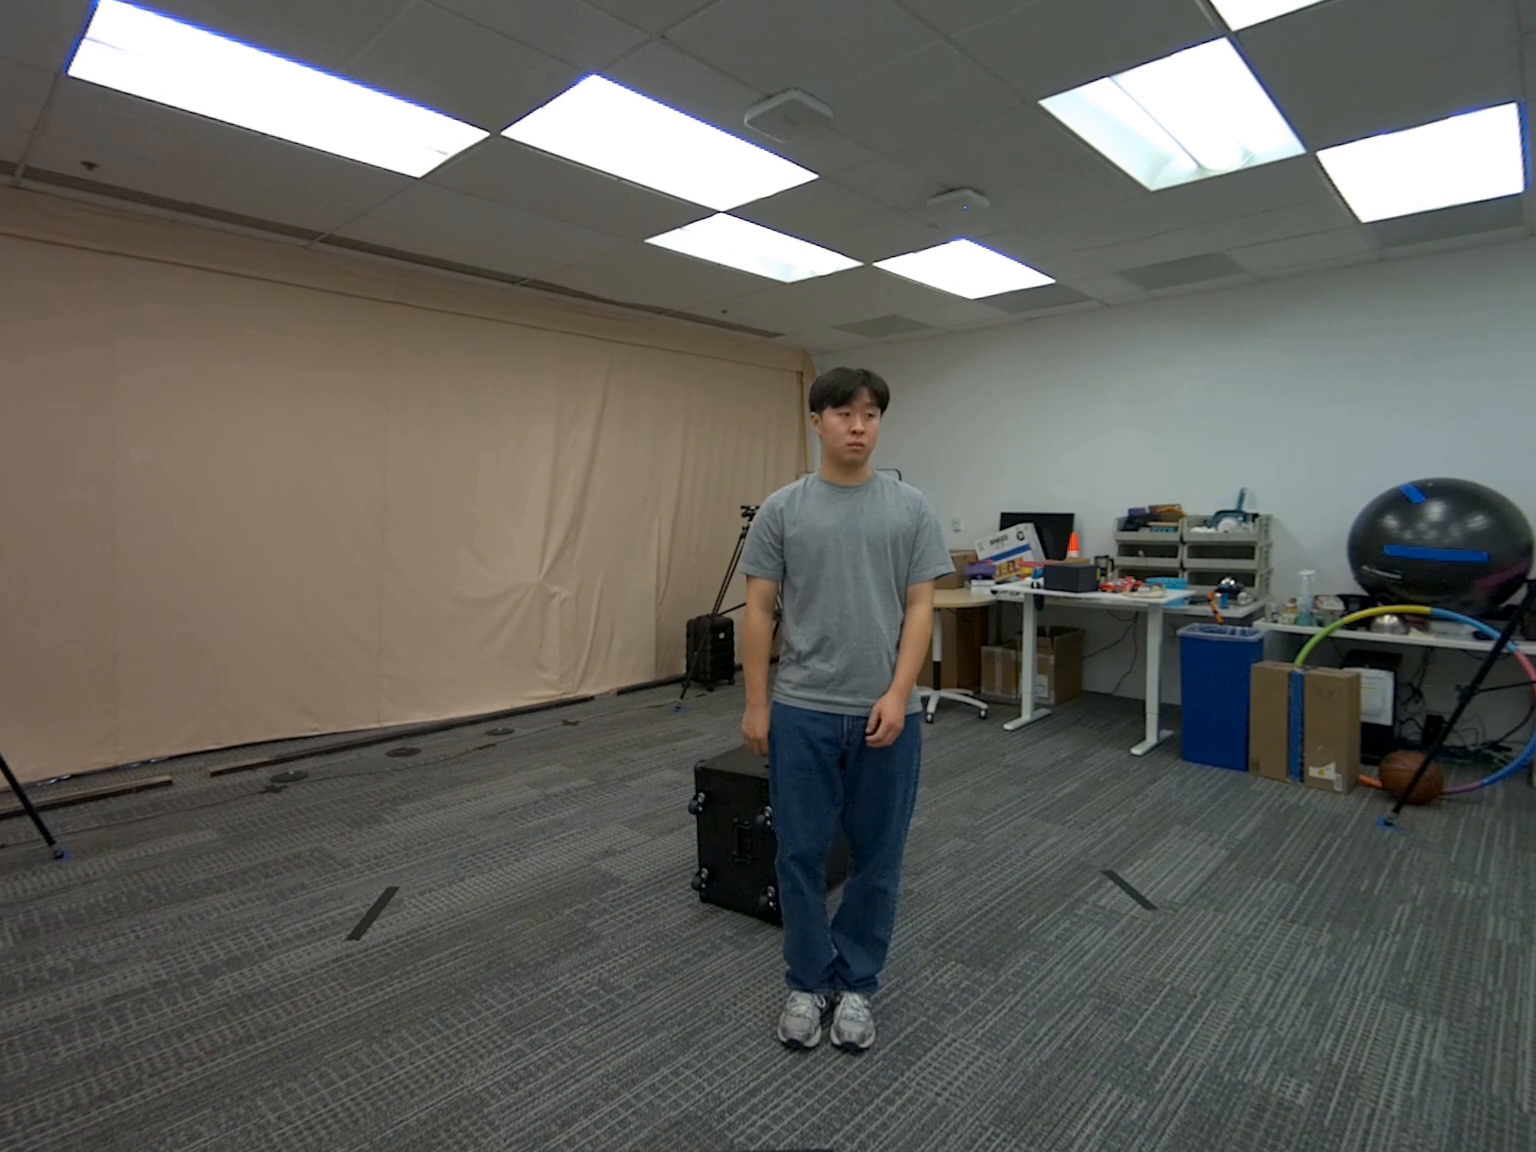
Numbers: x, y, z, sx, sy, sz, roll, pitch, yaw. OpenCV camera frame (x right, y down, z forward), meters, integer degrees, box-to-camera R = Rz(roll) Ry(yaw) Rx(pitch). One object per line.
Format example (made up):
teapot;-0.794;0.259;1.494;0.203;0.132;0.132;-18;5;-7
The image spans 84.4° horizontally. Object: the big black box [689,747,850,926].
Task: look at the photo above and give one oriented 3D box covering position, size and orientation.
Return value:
big black box;0.080;0.873;3.150;0.408;0.520;0.837;-1;4;33
